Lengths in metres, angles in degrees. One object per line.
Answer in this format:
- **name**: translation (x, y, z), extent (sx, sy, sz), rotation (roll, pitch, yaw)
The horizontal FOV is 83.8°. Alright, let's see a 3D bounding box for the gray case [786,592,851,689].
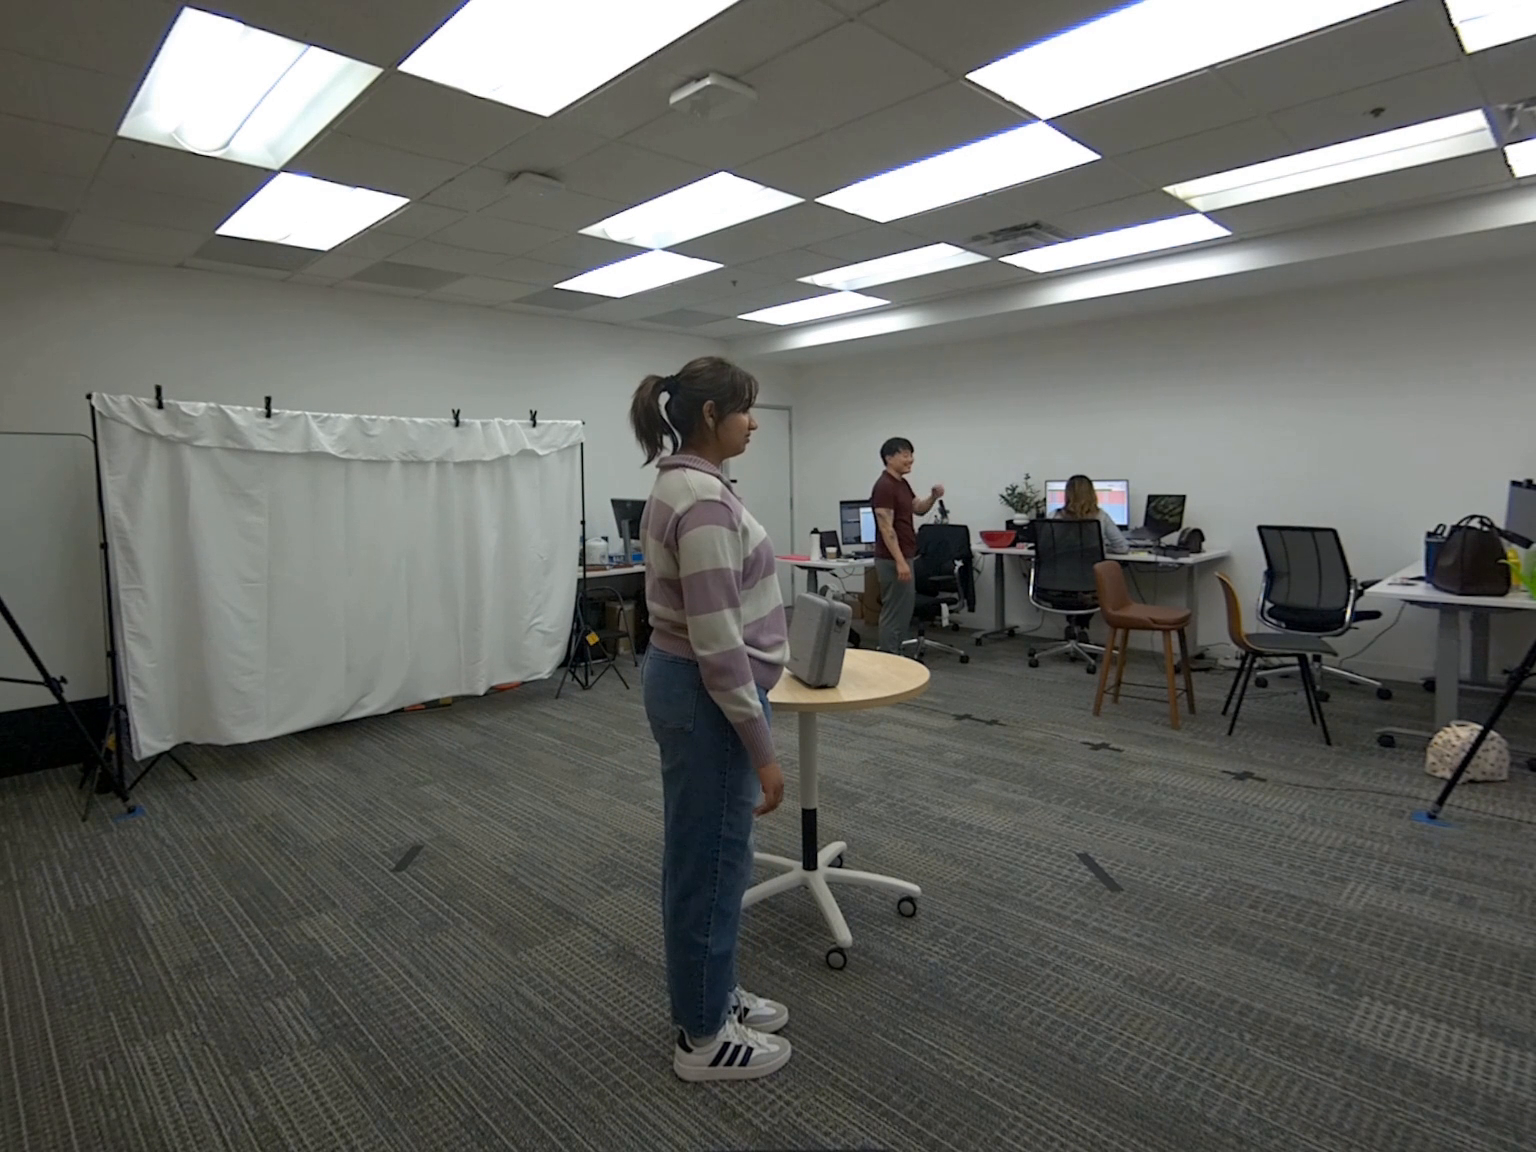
- **gray case**: translation (0.153, 0.190, 2.590), extent (0.103, 0.260, 0.261), rotation (8, 3, -16)
